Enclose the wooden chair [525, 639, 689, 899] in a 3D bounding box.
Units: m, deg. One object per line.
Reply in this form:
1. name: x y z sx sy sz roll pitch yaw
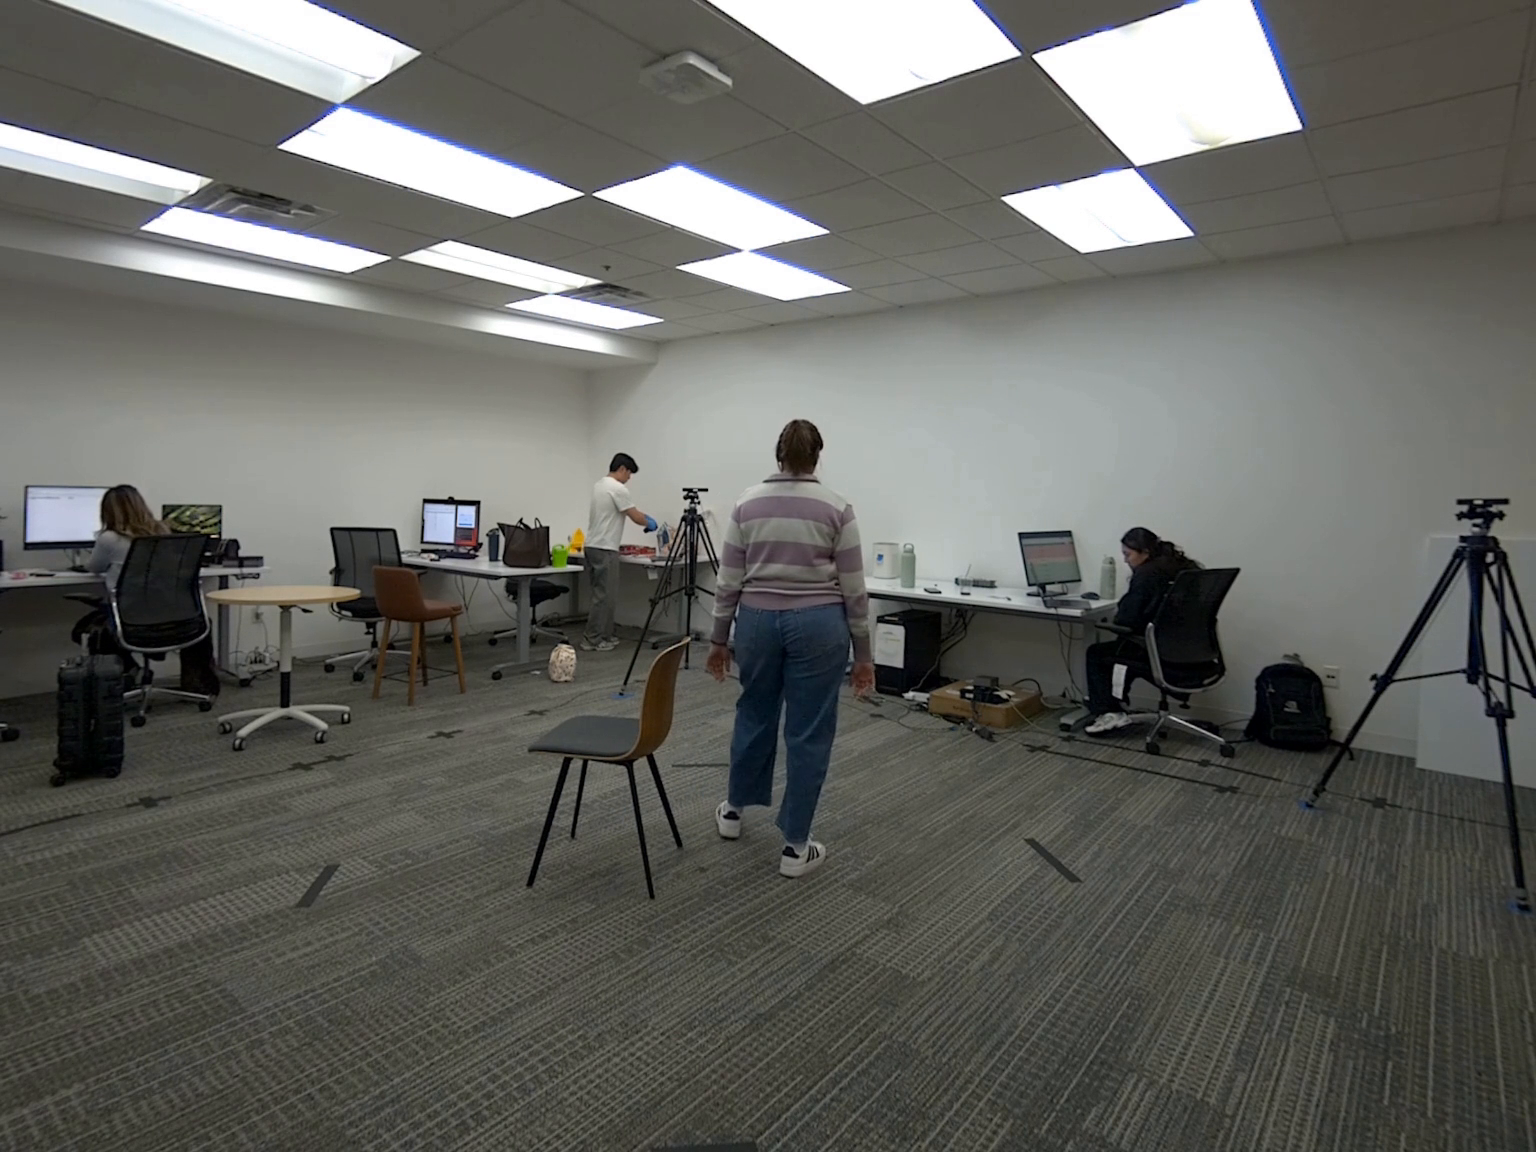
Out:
1. wooden chair: -0.596 0.637 3.099 0.529 0.875 0.474 5 4 8
